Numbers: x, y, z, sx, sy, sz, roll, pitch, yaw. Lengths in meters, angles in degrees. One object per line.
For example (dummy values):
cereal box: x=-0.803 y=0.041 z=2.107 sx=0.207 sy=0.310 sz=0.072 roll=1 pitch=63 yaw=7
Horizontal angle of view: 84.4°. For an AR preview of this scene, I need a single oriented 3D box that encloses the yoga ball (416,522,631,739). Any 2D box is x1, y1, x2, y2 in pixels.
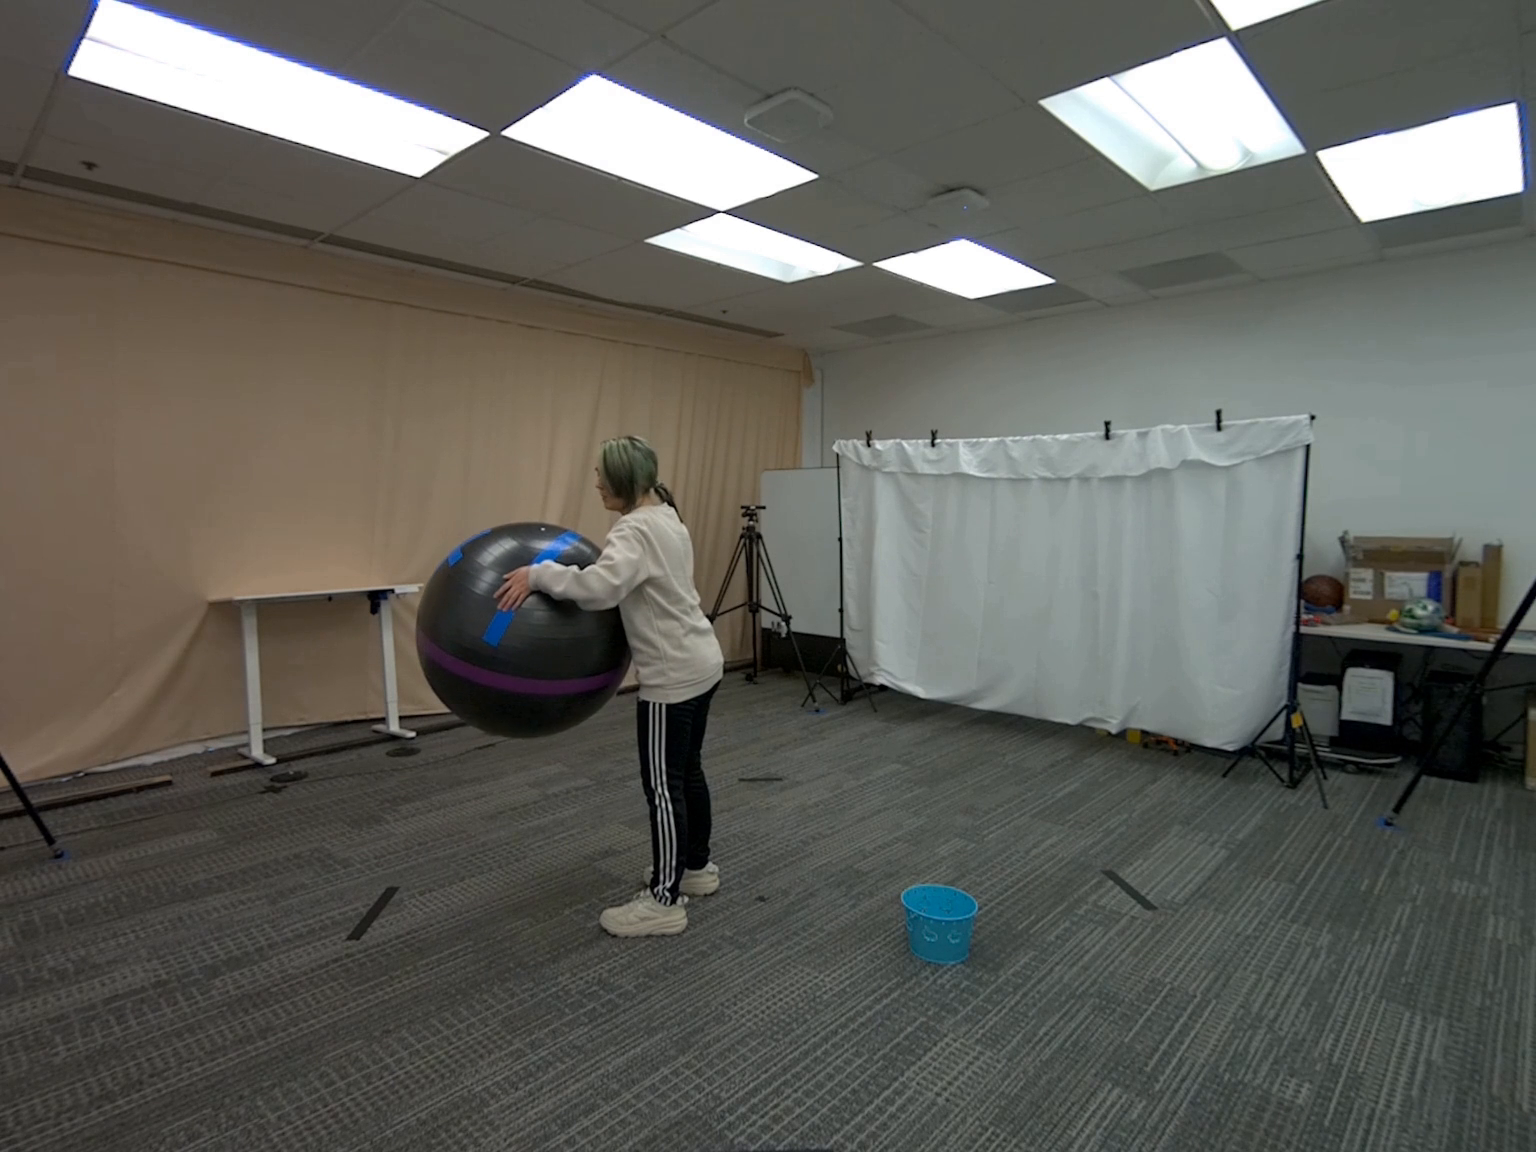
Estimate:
yoga ball: x=-0.845 y=0.201 z=2.987 sx=0.757 sy=0.756 sz=0.760 roll=0 pitch=4 yaw=-2
